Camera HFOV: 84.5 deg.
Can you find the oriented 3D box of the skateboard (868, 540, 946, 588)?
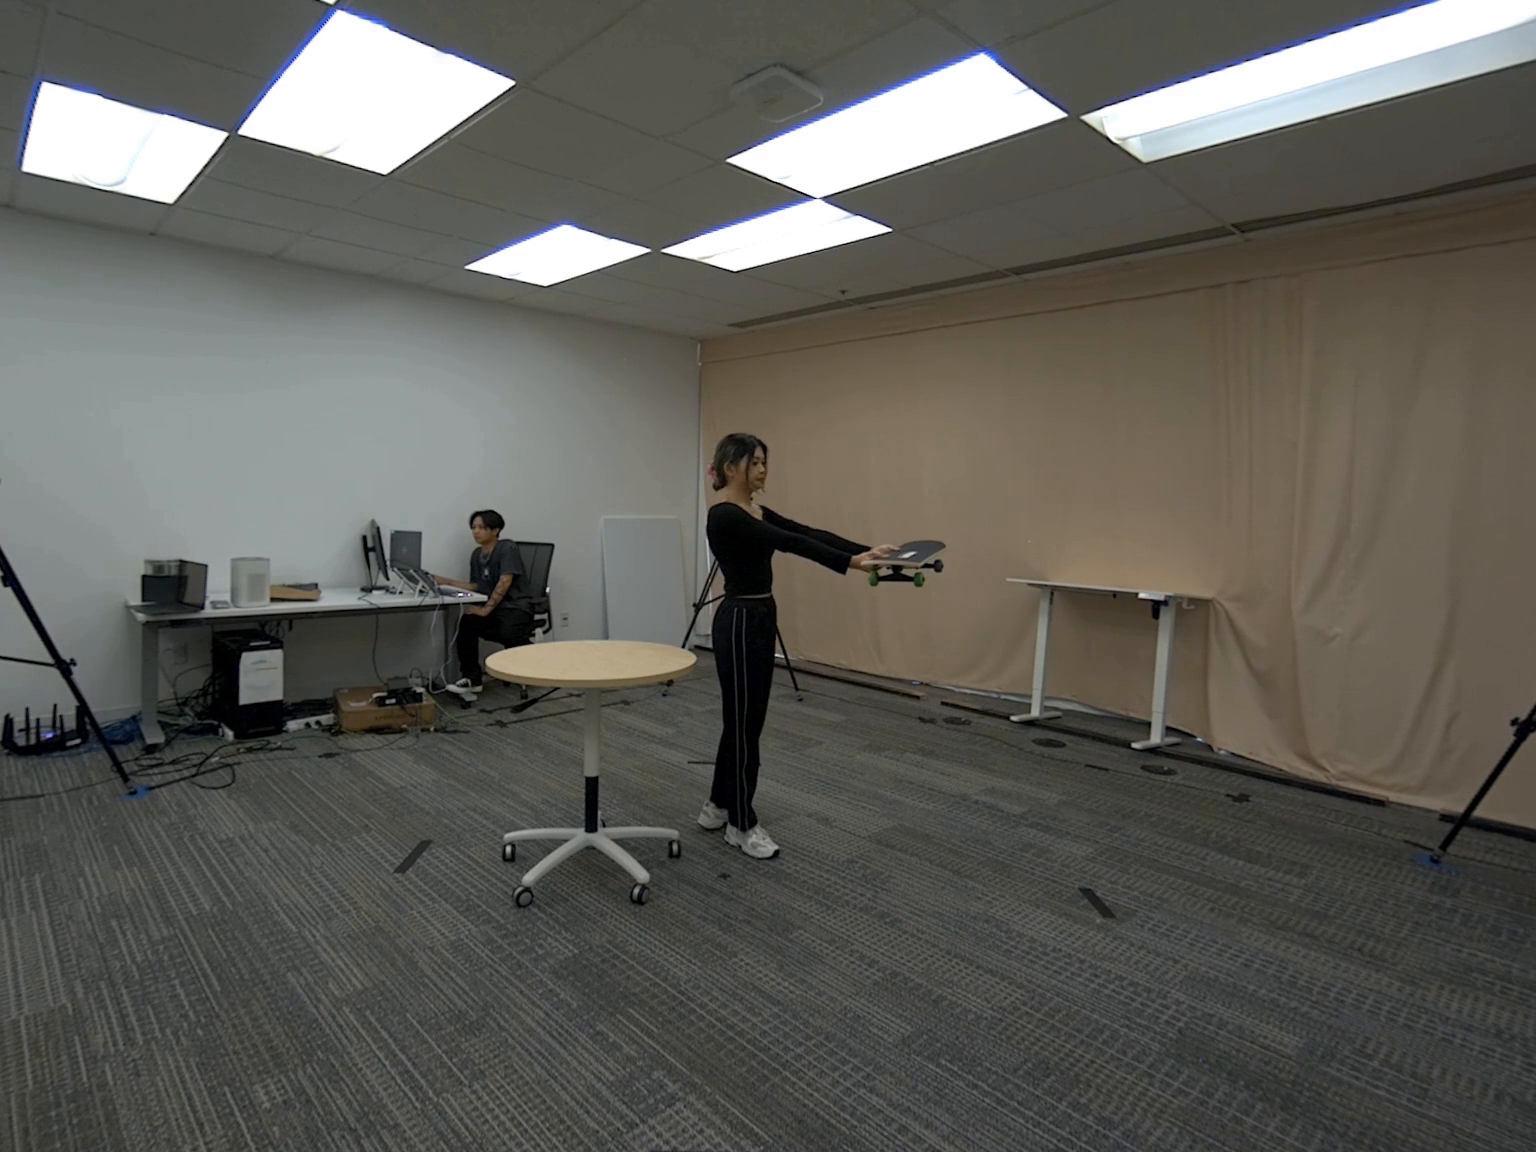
[{"bbox_3d":[0.501,-0.038,3.054,0.197,0.110,0.774,1,7,23],"label":"skateboard"}]
